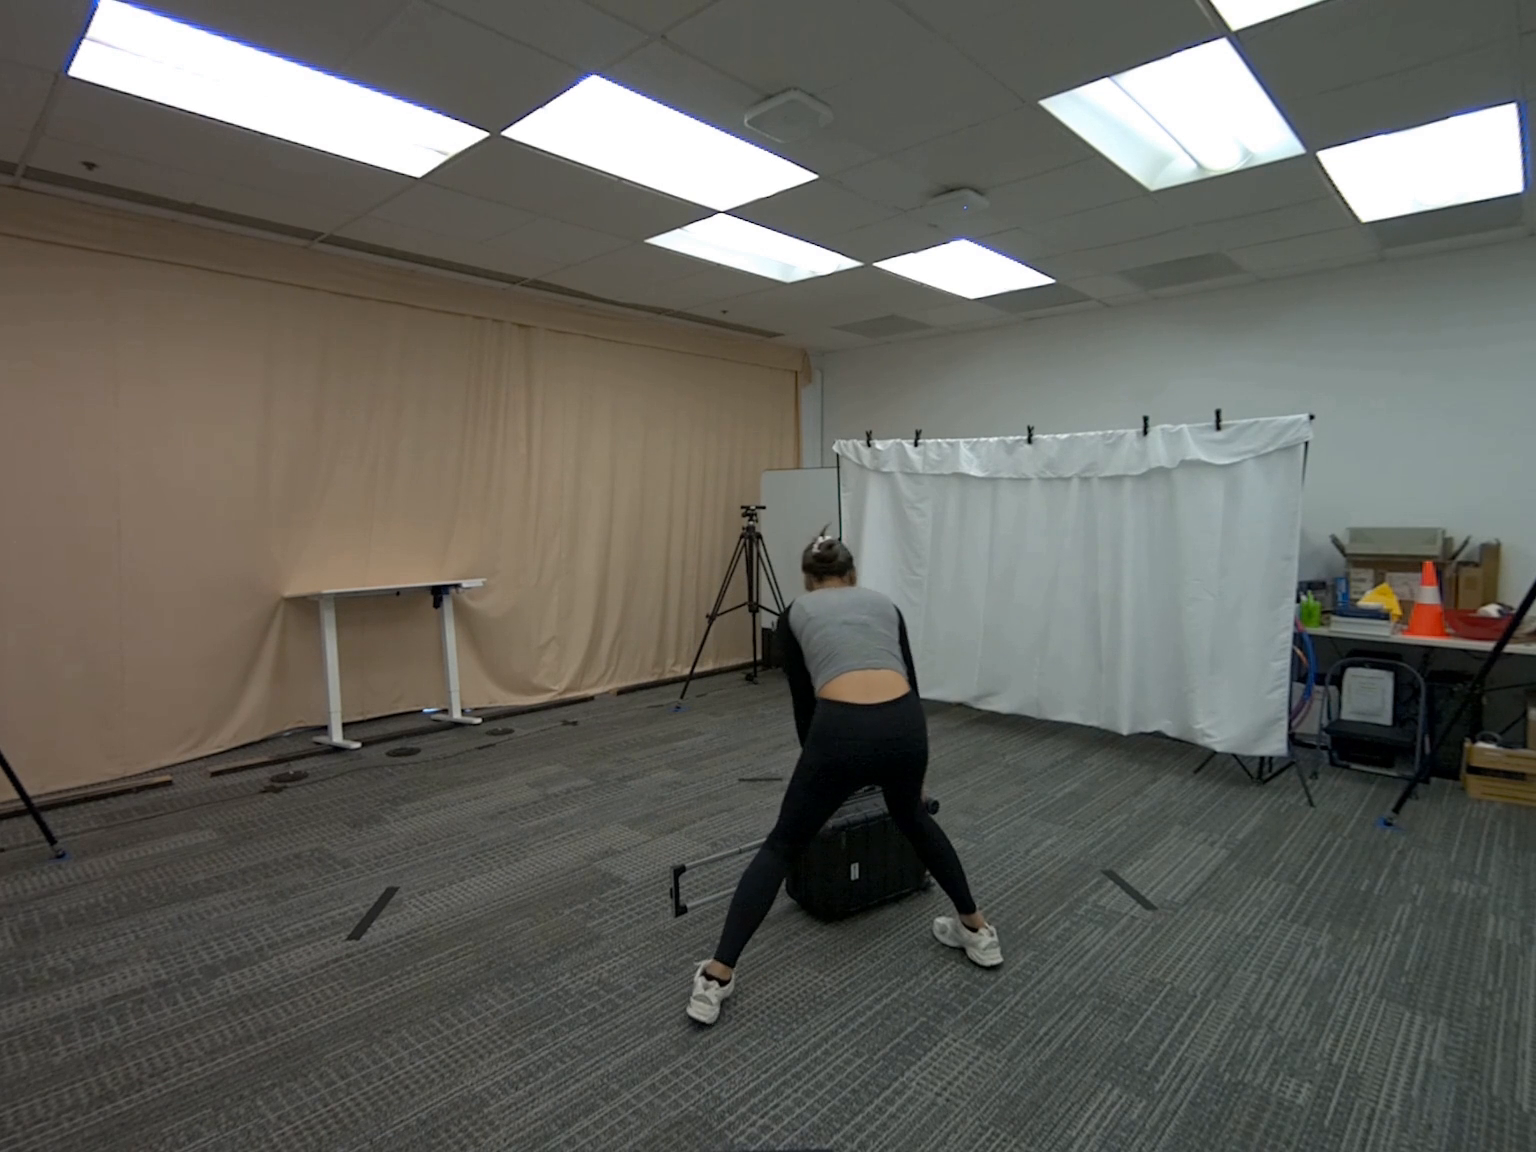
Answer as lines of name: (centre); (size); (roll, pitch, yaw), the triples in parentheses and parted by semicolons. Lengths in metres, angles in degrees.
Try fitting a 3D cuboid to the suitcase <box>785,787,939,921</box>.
suitcase: (0.160, 0.970, 2.852); (0.950, 0.383, 0.265); (-3, 3, -34)
